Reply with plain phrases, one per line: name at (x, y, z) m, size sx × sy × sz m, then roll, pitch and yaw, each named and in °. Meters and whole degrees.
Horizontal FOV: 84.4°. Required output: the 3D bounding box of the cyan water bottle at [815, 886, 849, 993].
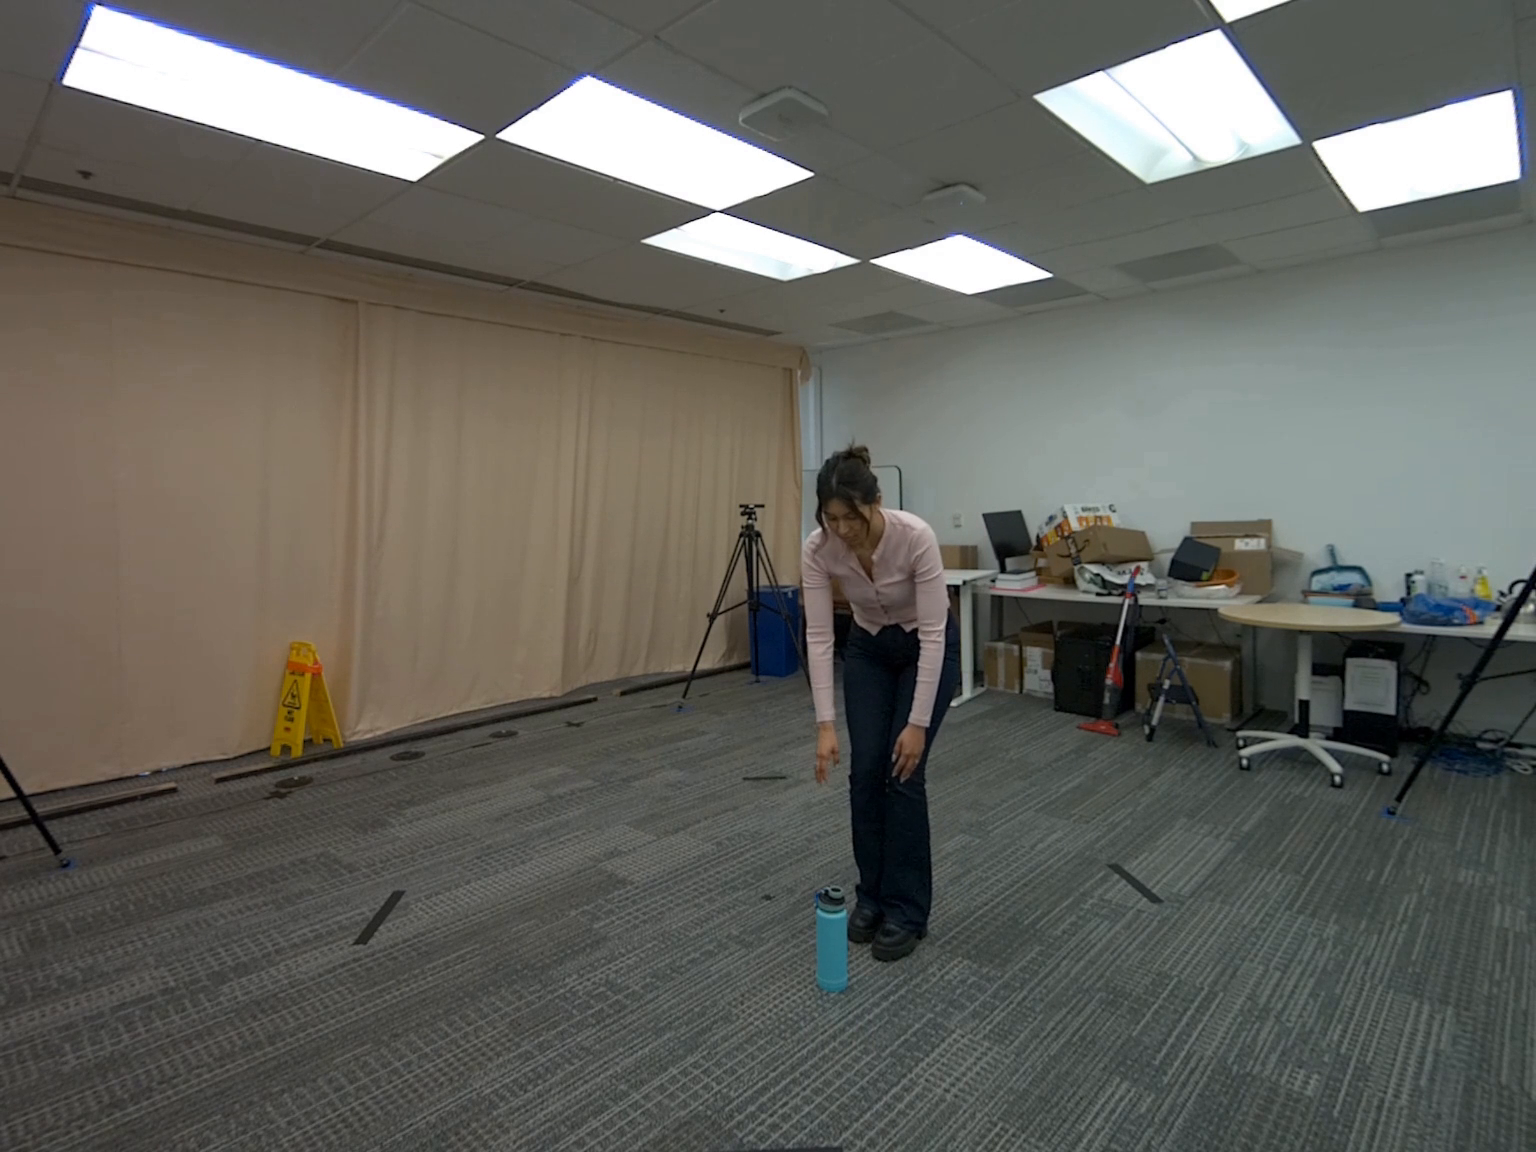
cyan water bottle at (0.188, 1.046, 2.424) m, size 0.092 × 0.283 × 0.092 m, roll -2°, pitch 3°, yaw -2°
